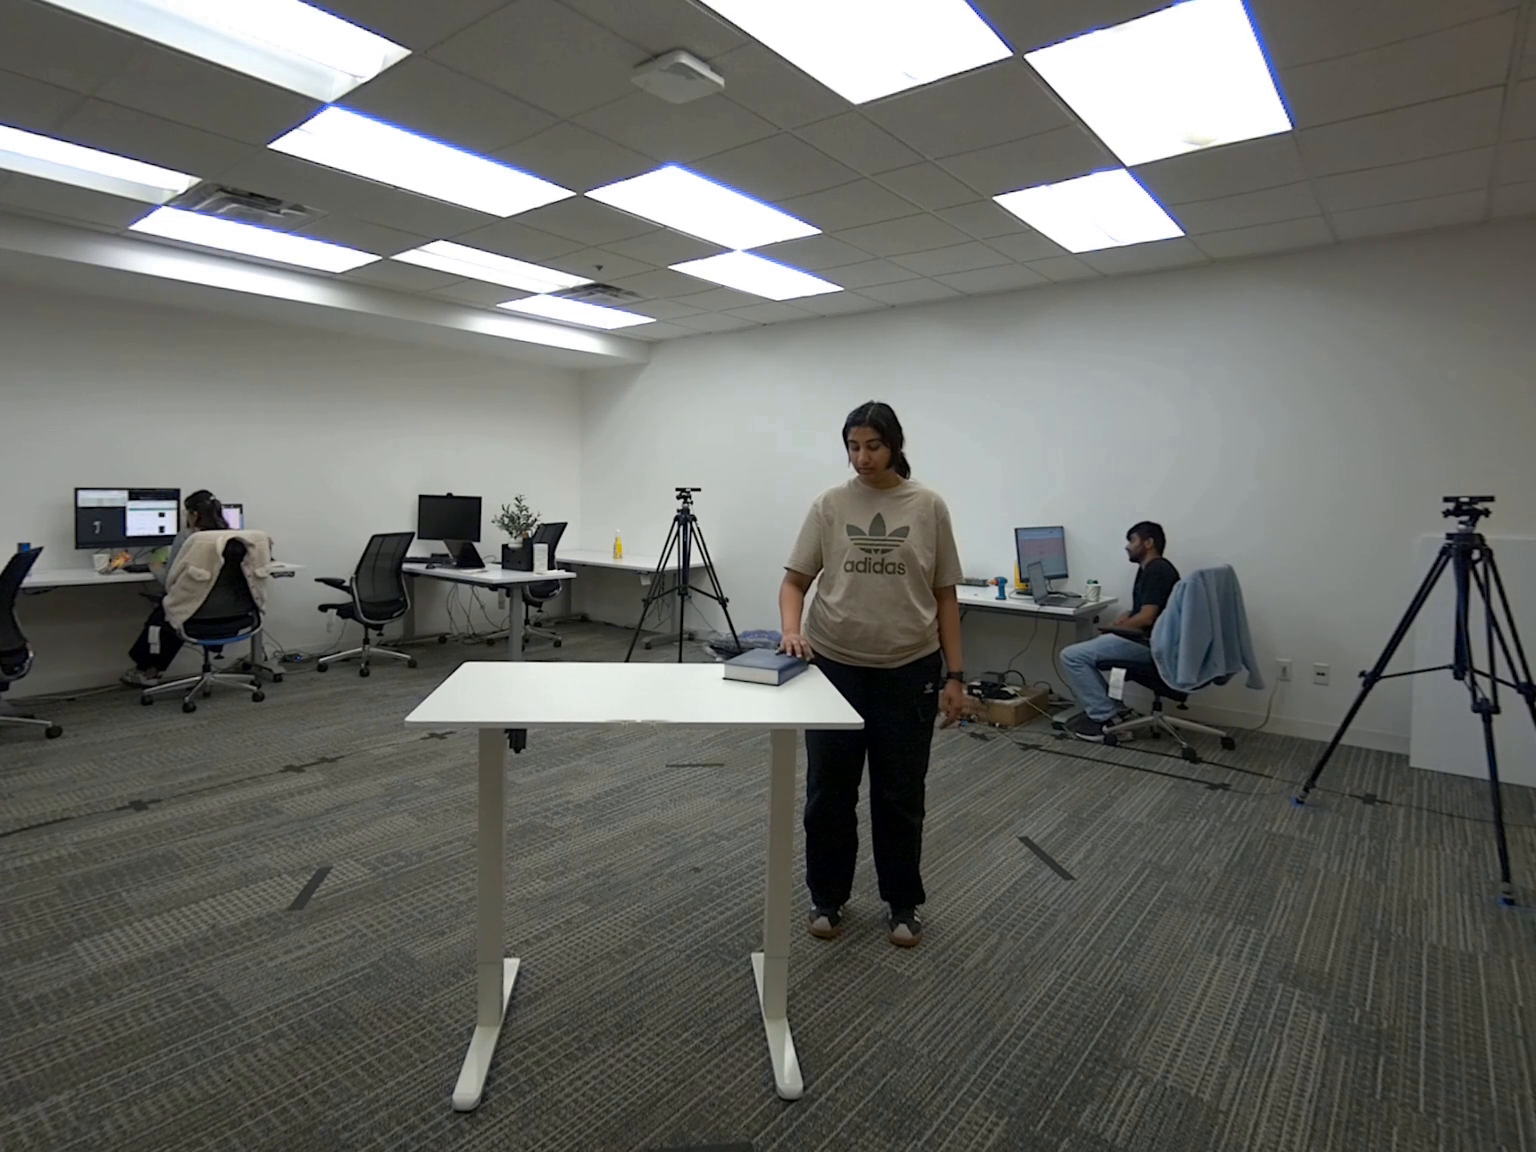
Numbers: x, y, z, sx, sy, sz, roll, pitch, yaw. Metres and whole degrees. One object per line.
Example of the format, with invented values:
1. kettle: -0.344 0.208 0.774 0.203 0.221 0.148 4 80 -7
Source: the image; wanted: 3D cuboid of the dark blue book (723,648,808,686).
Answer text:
1. dark blue book: -0.012 0.249 2.336 0.167 0.045 0.240 5 6 22
